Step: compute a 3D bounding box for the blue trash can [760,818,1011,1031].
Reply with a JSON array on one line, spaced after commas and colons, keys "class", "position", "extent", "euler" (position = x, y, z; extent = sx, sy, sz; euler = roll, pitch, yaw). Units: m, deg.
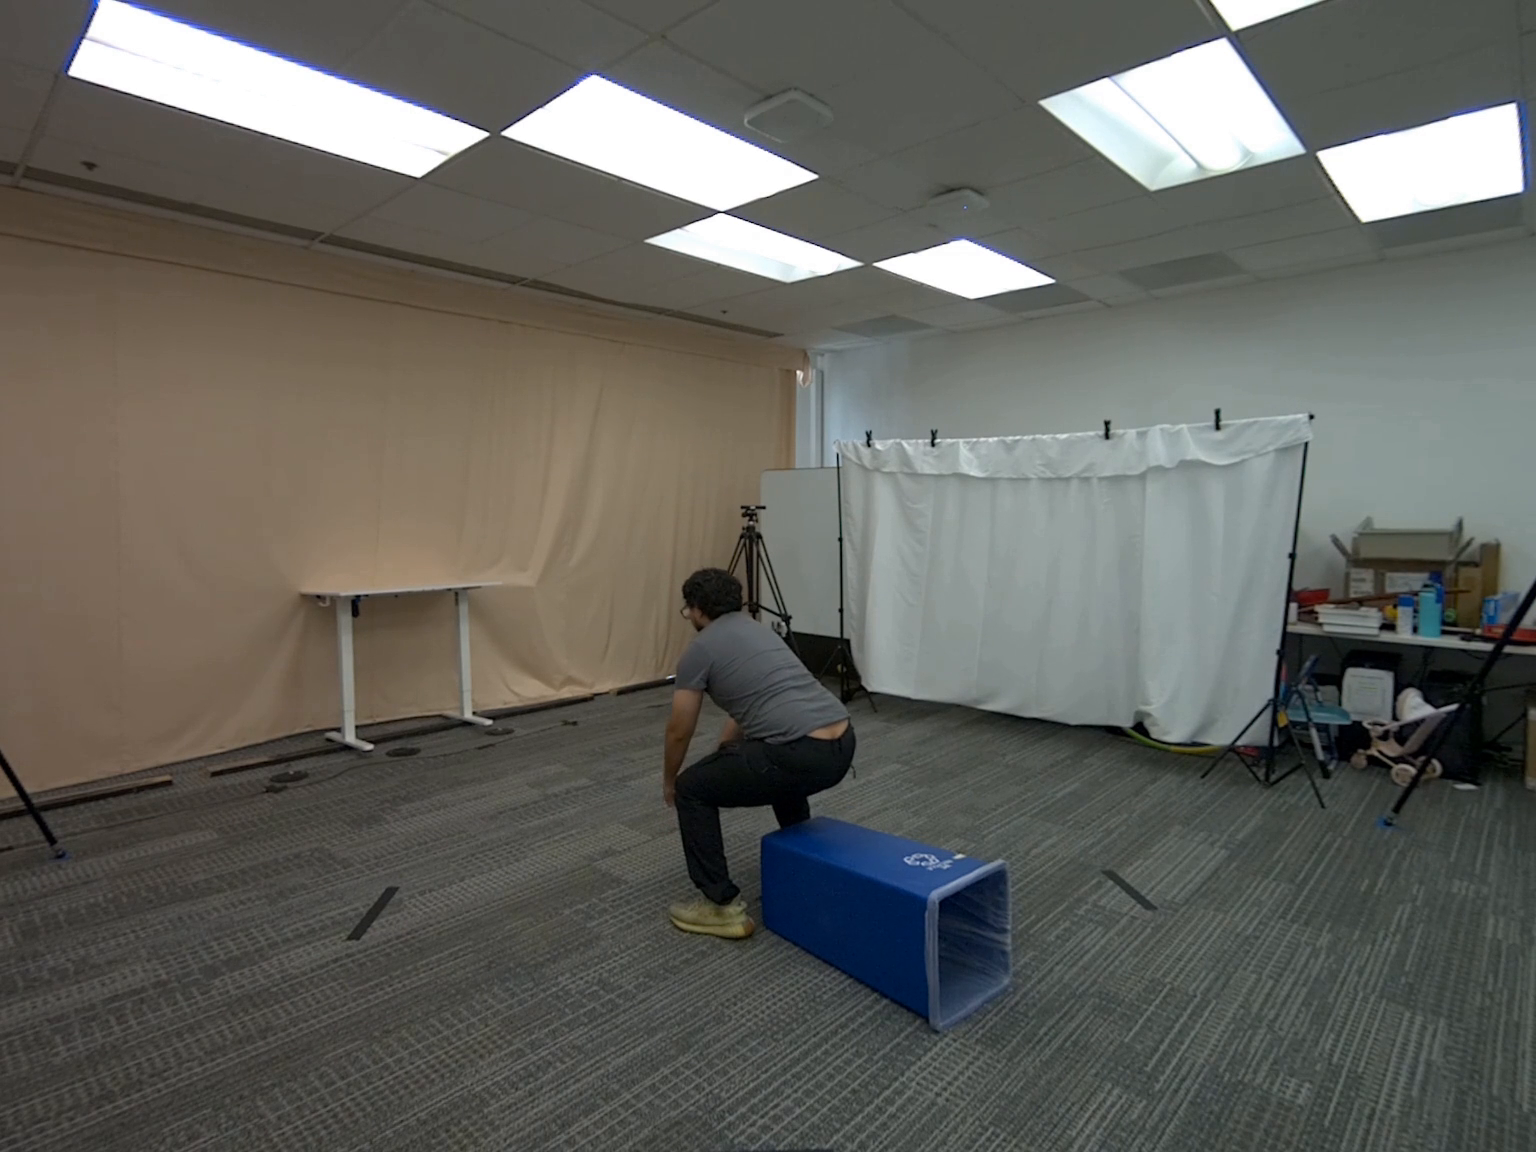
[{"class": "blue trash can", "position": [0.336, 0.999, 2.588], "extent": [0.366, 0.373, 0.737], "euler": [-3, 4, -42]}]
